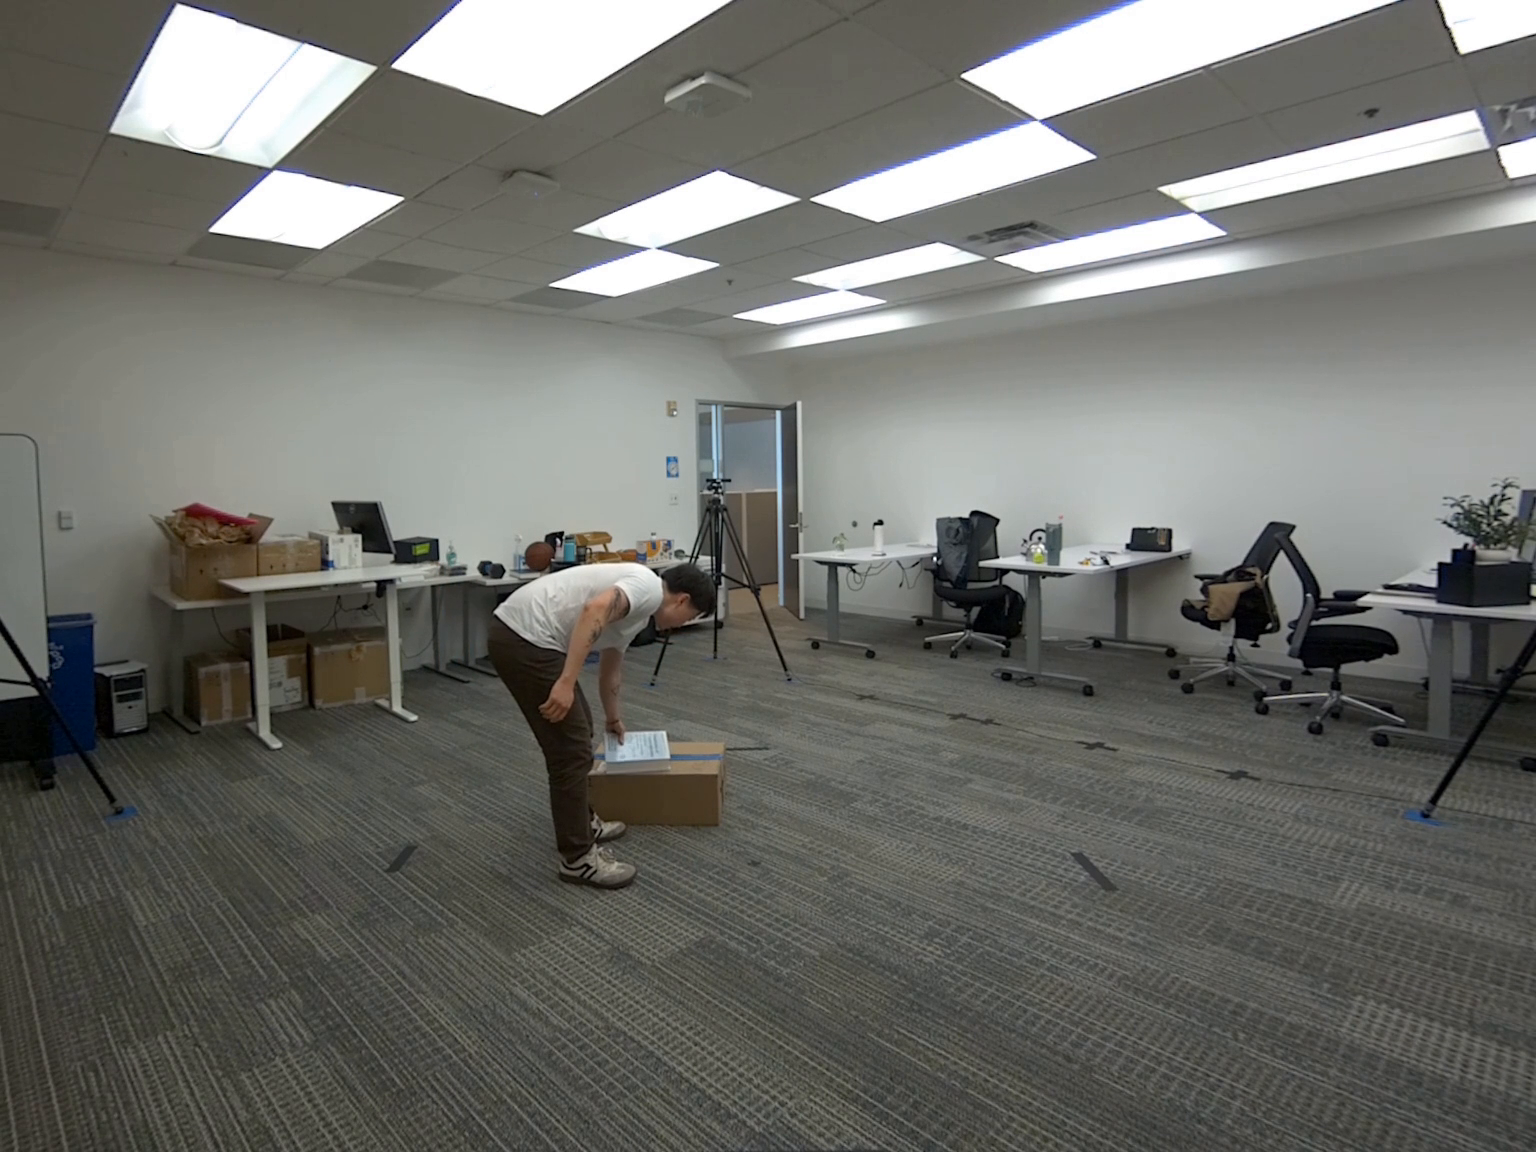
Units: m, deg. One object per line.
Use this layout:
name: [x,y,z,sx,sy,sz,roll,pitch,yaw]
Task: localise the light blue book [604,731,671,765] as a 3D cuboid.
light blue book: [-0.551,0.733,3.564,0.258,0.058,0.197,-2,26,-11]
